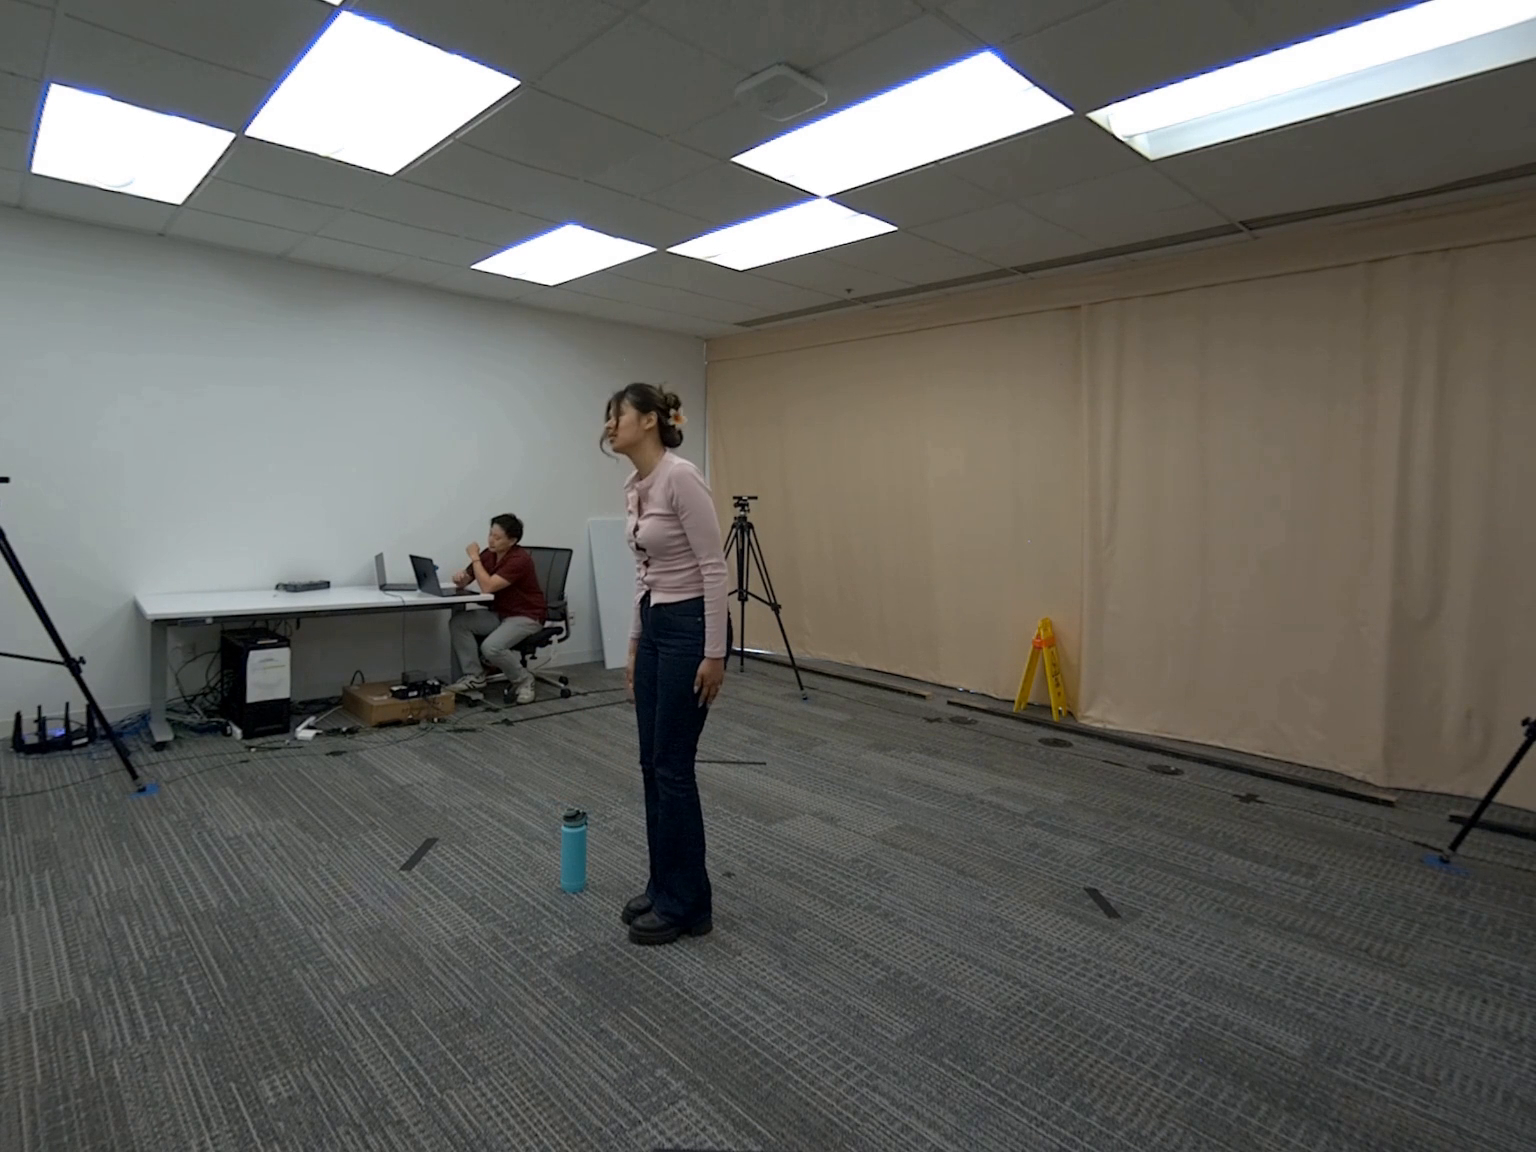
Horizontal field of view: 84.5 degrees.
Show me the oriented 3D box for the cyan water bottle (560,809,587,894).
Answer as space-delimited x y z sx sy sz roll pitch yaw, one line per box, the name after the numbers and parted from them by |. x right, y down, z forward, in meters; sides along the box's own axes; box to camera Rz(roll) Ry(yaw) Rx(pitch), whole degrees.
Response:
-0.697 0.966 2.969 0.092 0.283 0.092 2 3 -1 | cyan water bottle
